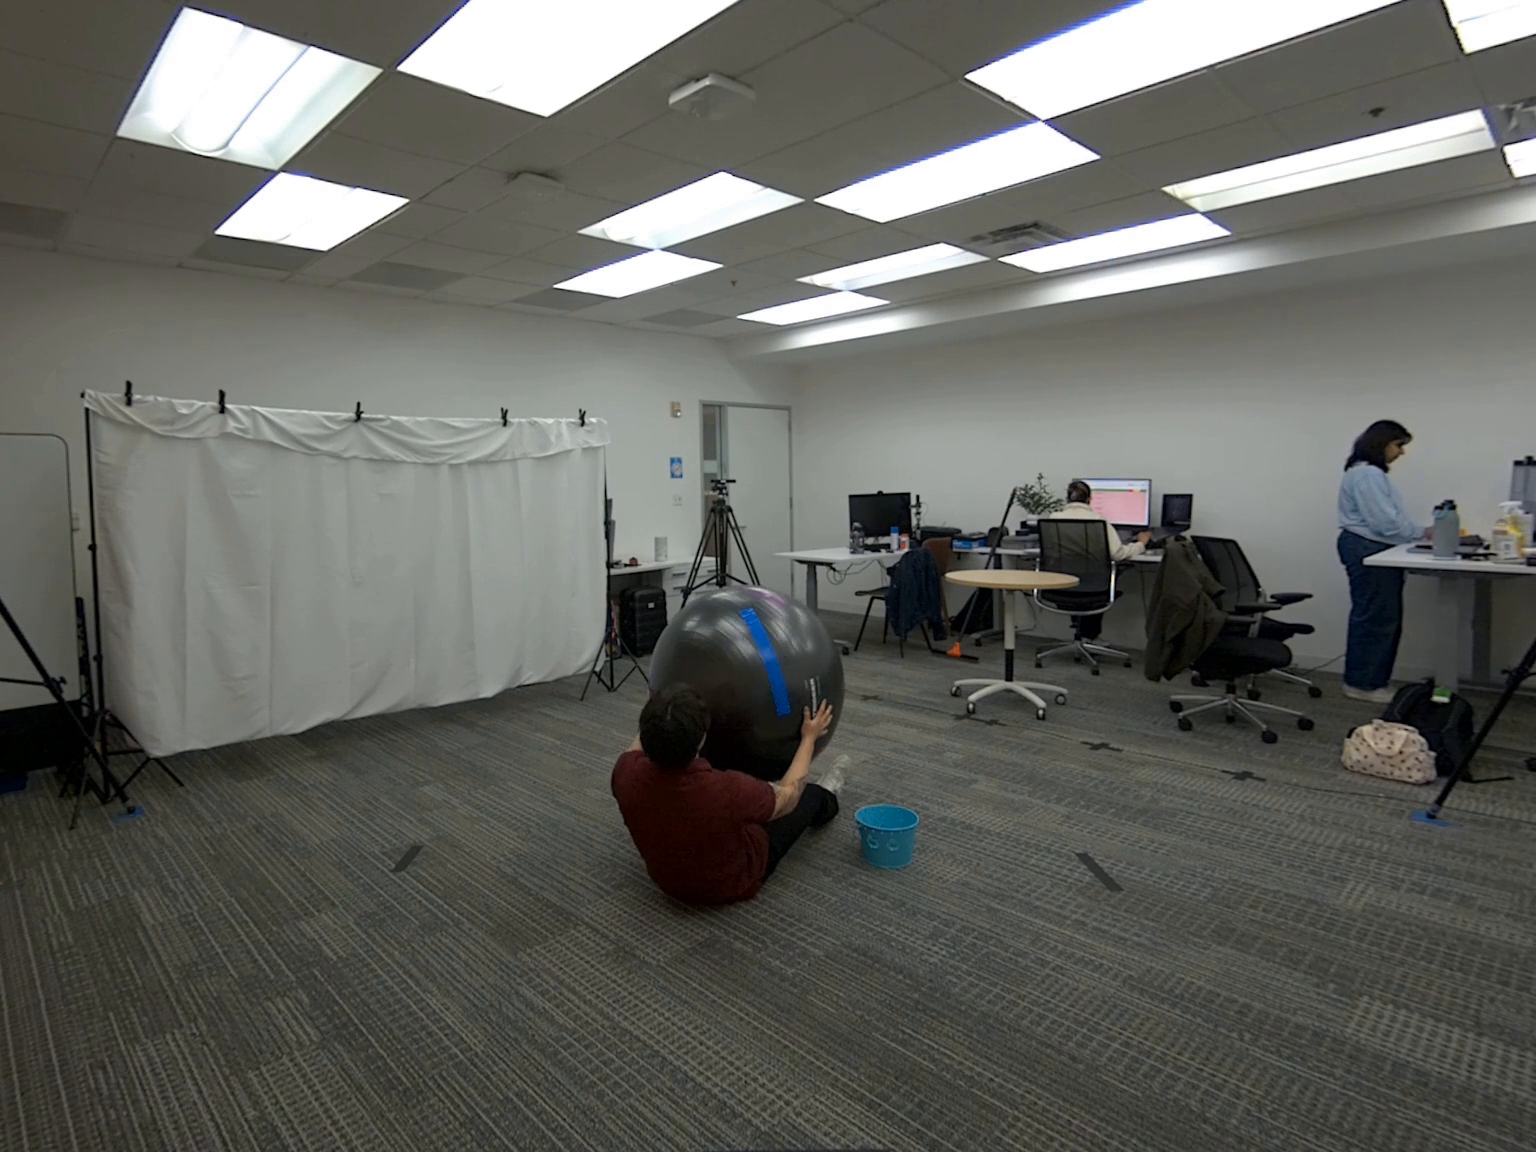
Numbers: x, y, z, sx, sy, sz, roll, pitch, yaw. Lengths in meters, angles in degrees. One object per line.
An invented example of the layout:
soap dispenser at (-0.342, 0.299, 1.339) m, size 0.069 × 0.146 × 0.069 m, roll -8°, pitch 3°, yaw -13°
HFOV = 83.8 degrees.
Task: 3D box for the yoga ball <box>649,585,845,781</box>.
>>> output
yoga ball at (-0.088, 0.419, 3.308) m, size 0.757 × 0.755 × 0.762 m, roll -1°, pitch 5°, yaw -2°
